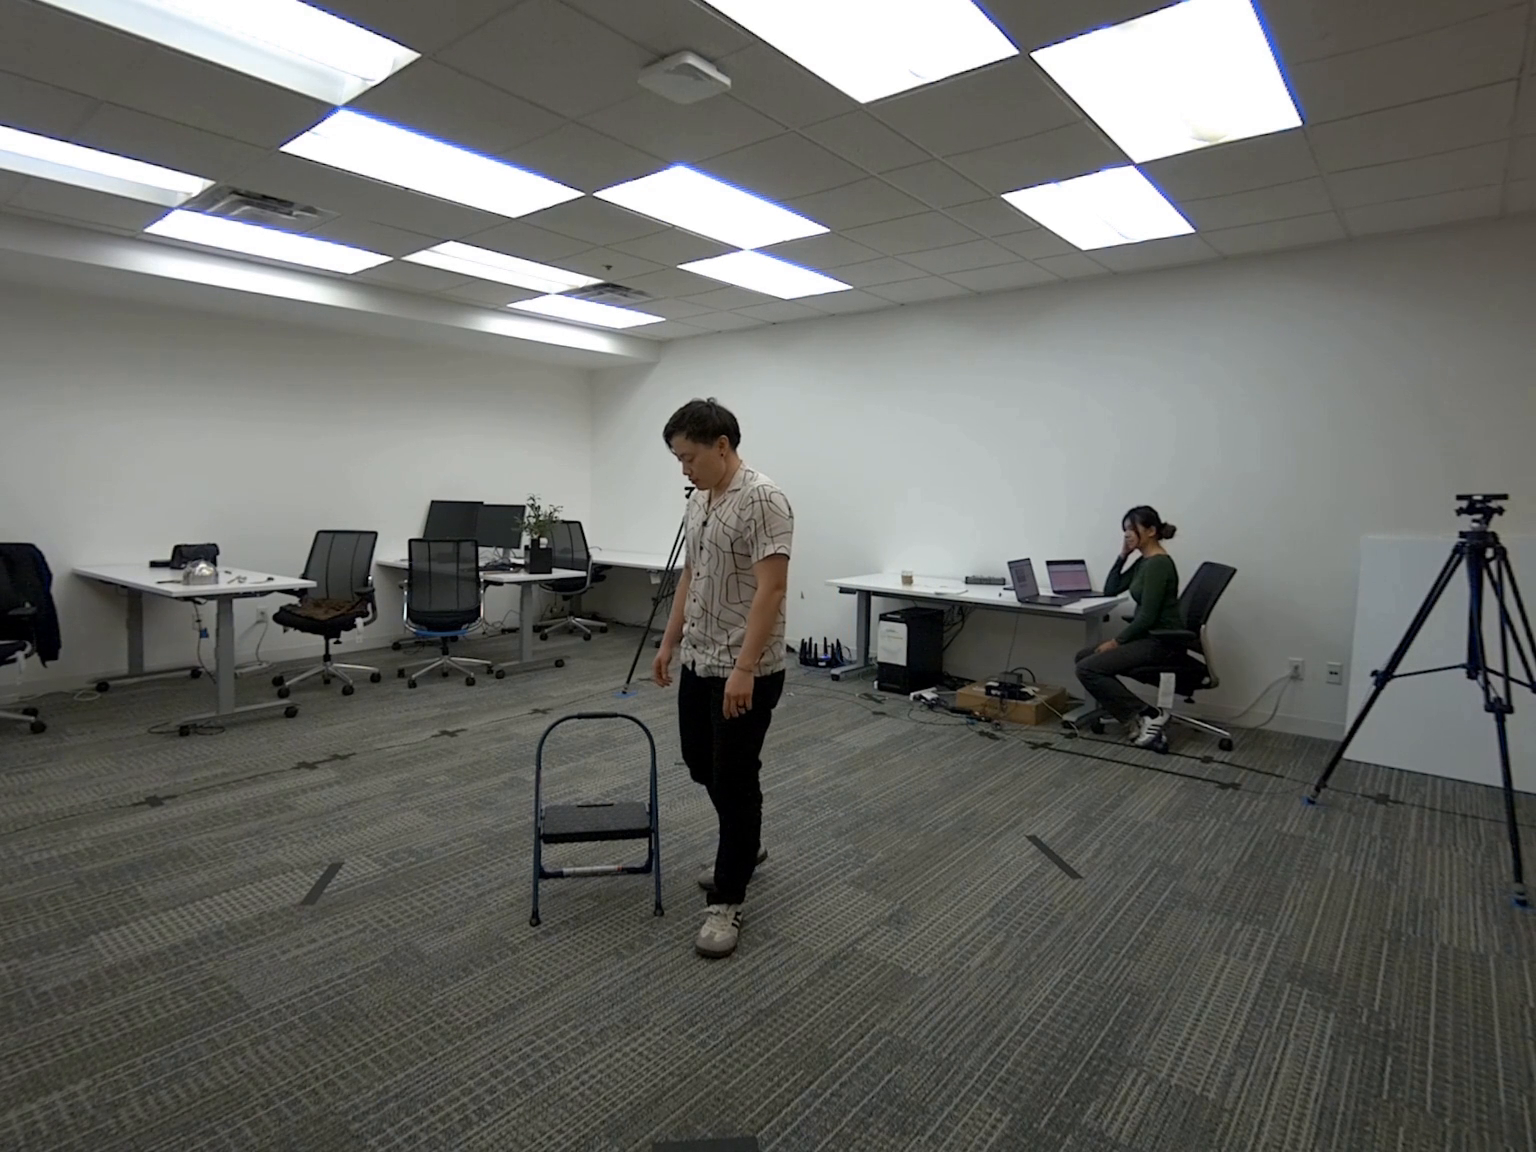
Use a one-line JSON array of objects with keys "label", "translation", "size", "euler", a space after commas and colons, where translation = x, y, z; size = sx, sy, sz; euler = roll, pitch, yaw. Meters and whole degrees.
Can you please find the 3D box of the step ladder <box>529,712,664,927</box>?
[{"label": "step ladder", "translation": [-0.592, 0.783, 2.880], "size": [0.425, 0.604, 0.355], "euler": [0, 4, -12]}]
